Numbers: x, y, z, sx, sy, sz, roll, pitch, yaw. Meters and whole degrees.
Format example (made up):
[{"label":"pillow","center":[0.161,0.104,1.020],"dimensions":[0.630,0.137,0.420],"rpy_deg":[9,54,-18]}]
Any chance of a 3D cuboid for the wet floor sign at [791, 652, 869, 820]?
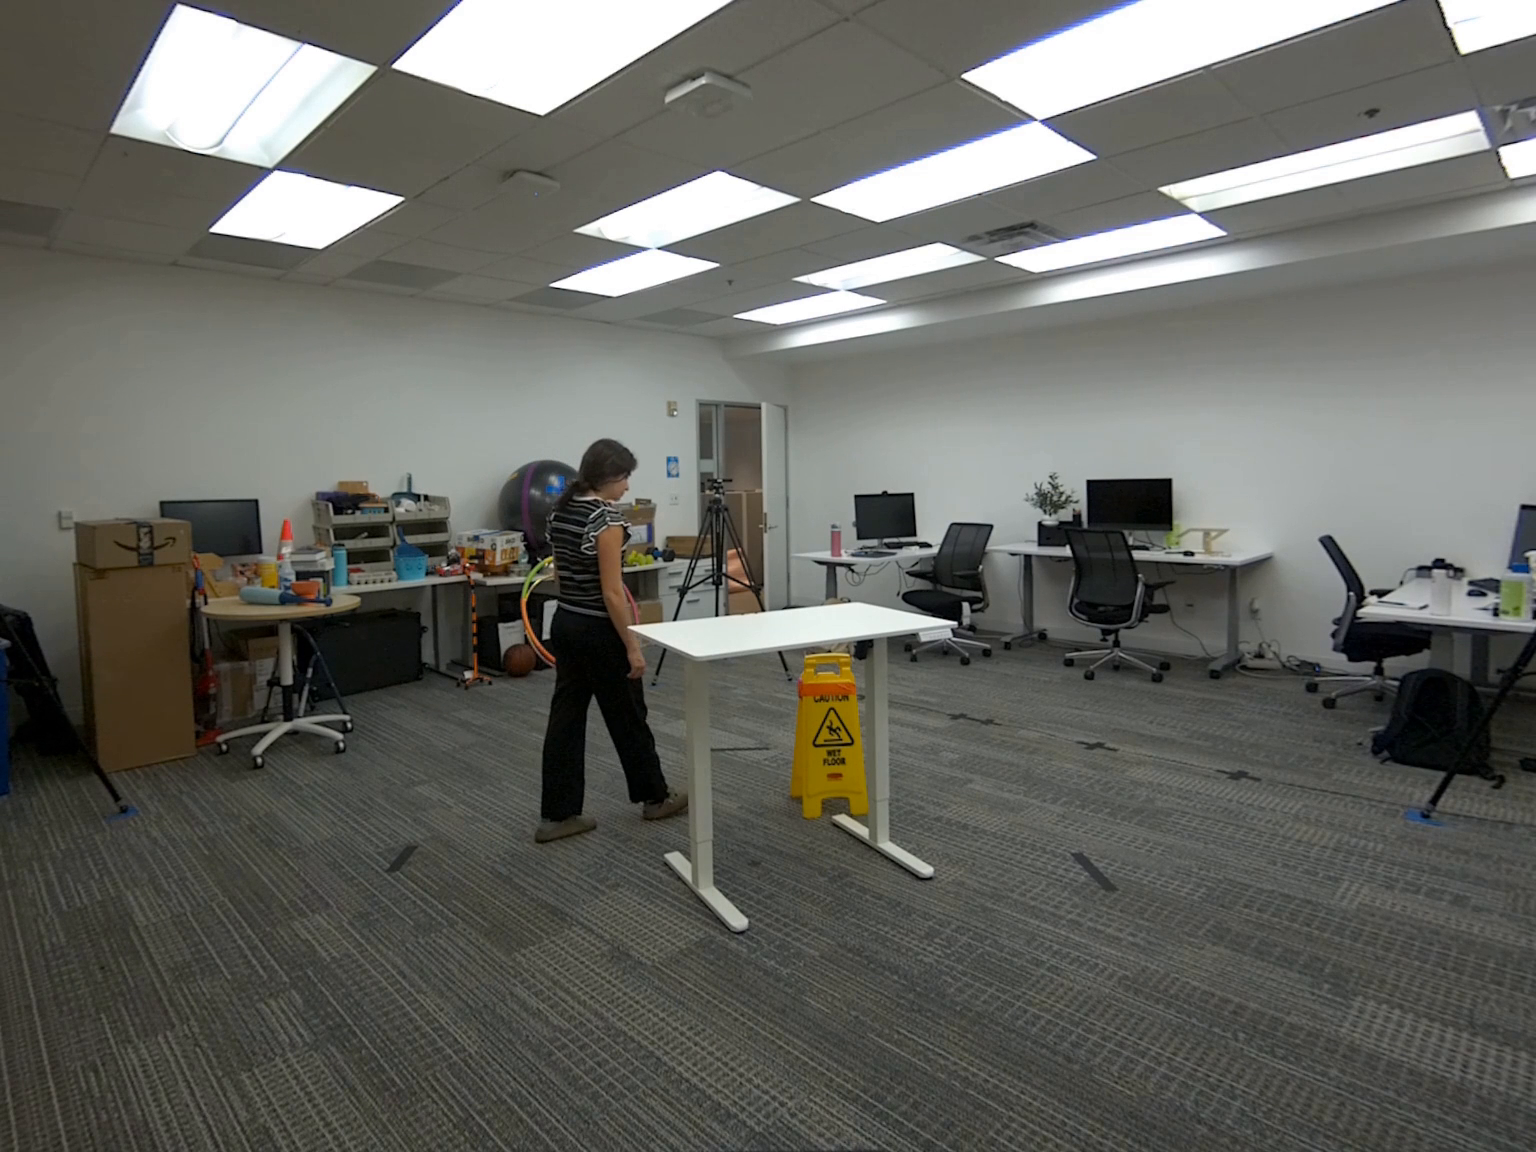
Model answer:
[{"label":"wet floor sign","center":[0.253,0.651,3.632],"dimensions":[0.280,0.645,0.292],"rpy_deg":[-1,2,-8]}]
